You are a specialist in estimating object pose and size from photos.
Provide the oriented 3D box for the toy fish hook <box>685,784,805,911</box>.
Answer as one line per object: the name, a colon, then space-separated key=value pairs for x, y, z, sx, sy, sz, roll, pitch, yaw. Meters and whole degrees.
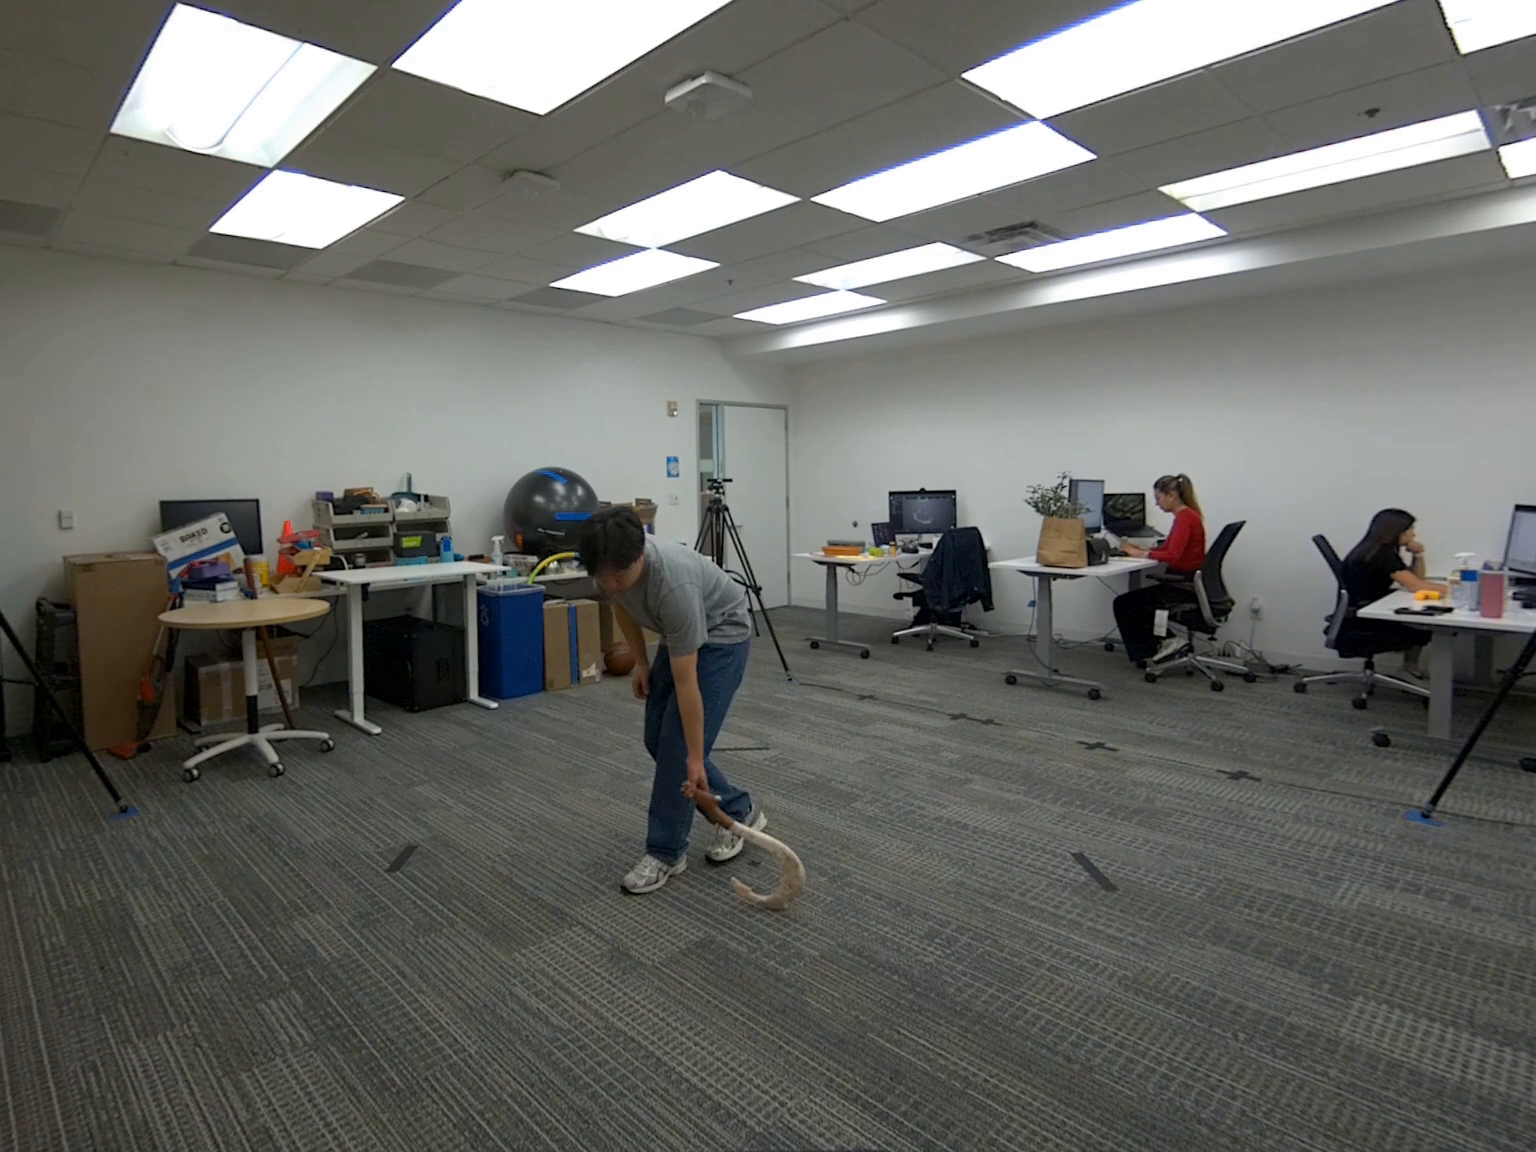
toy fish hook: x=-0.109 y=0.880 z=2.783 sx=0.510 sy=0.224 sz=0.048 roll=41 pitch=-1 yaw=5
